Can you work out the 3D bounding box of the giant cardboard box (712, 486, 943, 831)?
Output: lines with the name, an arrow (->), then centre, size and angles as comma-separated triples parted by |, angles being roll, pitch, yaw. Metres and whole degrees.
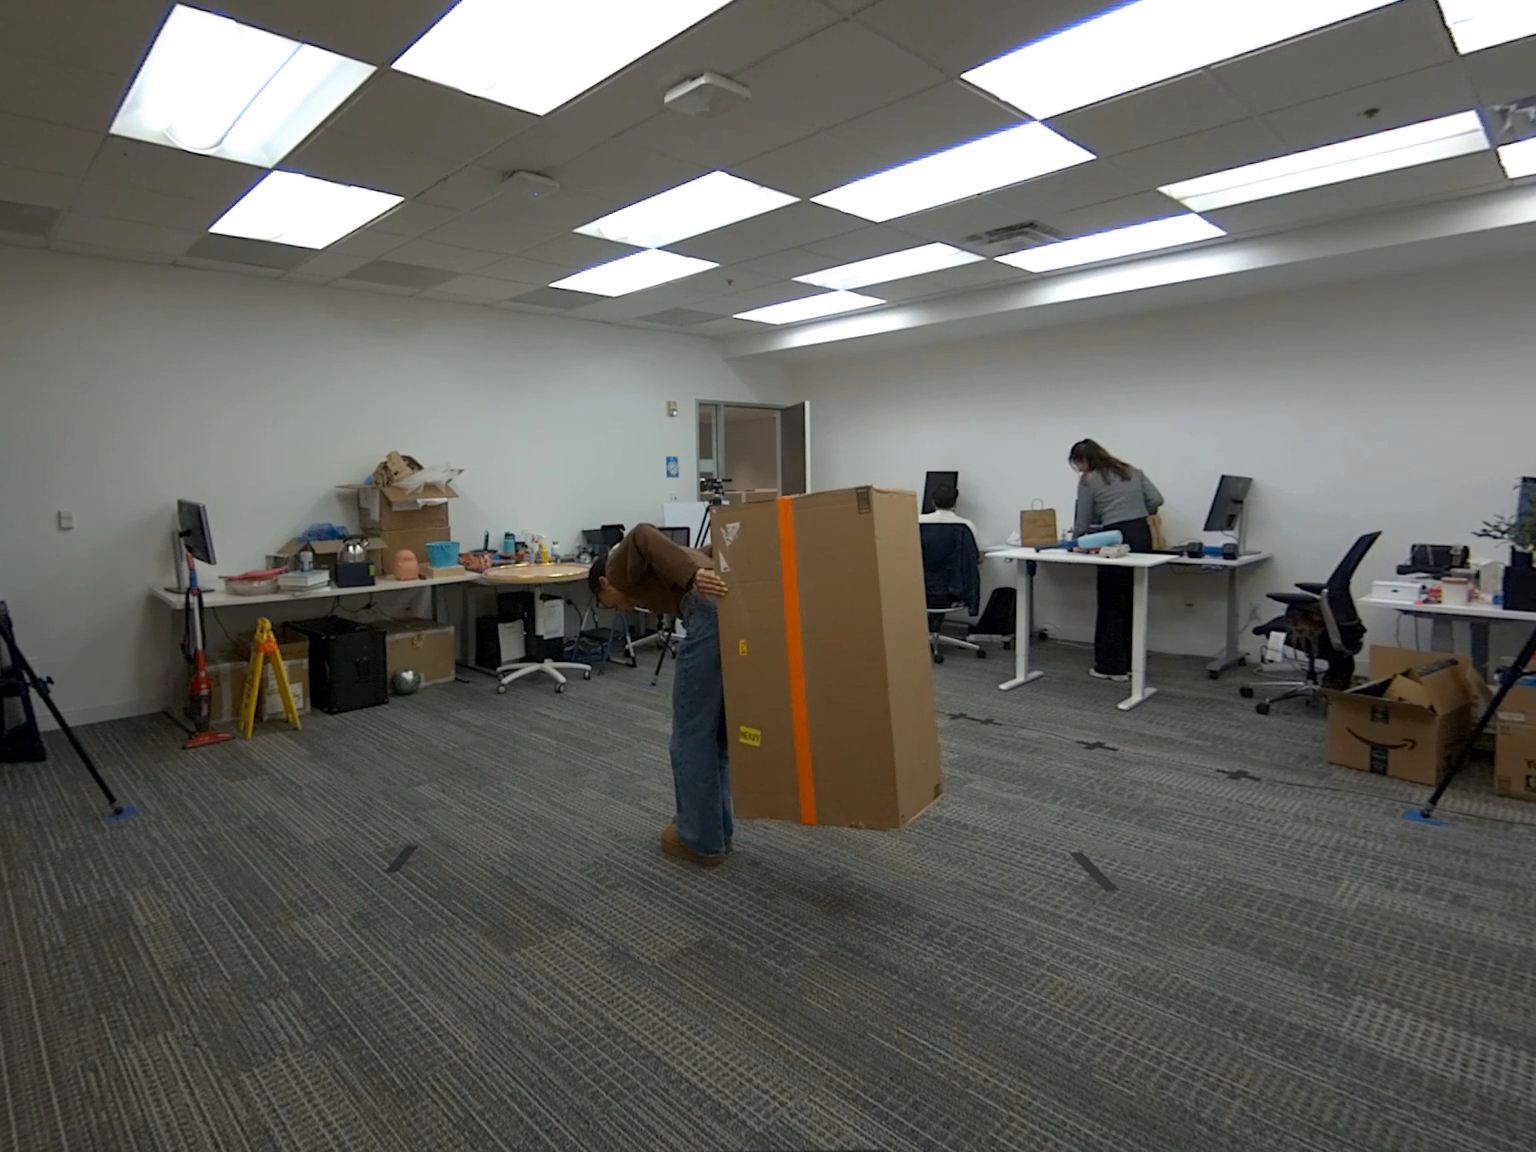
giant cardboard box -> 0.197, 0.257, 2.838 | 0.597, 1.031, 0.435 | -6, -4, 30
